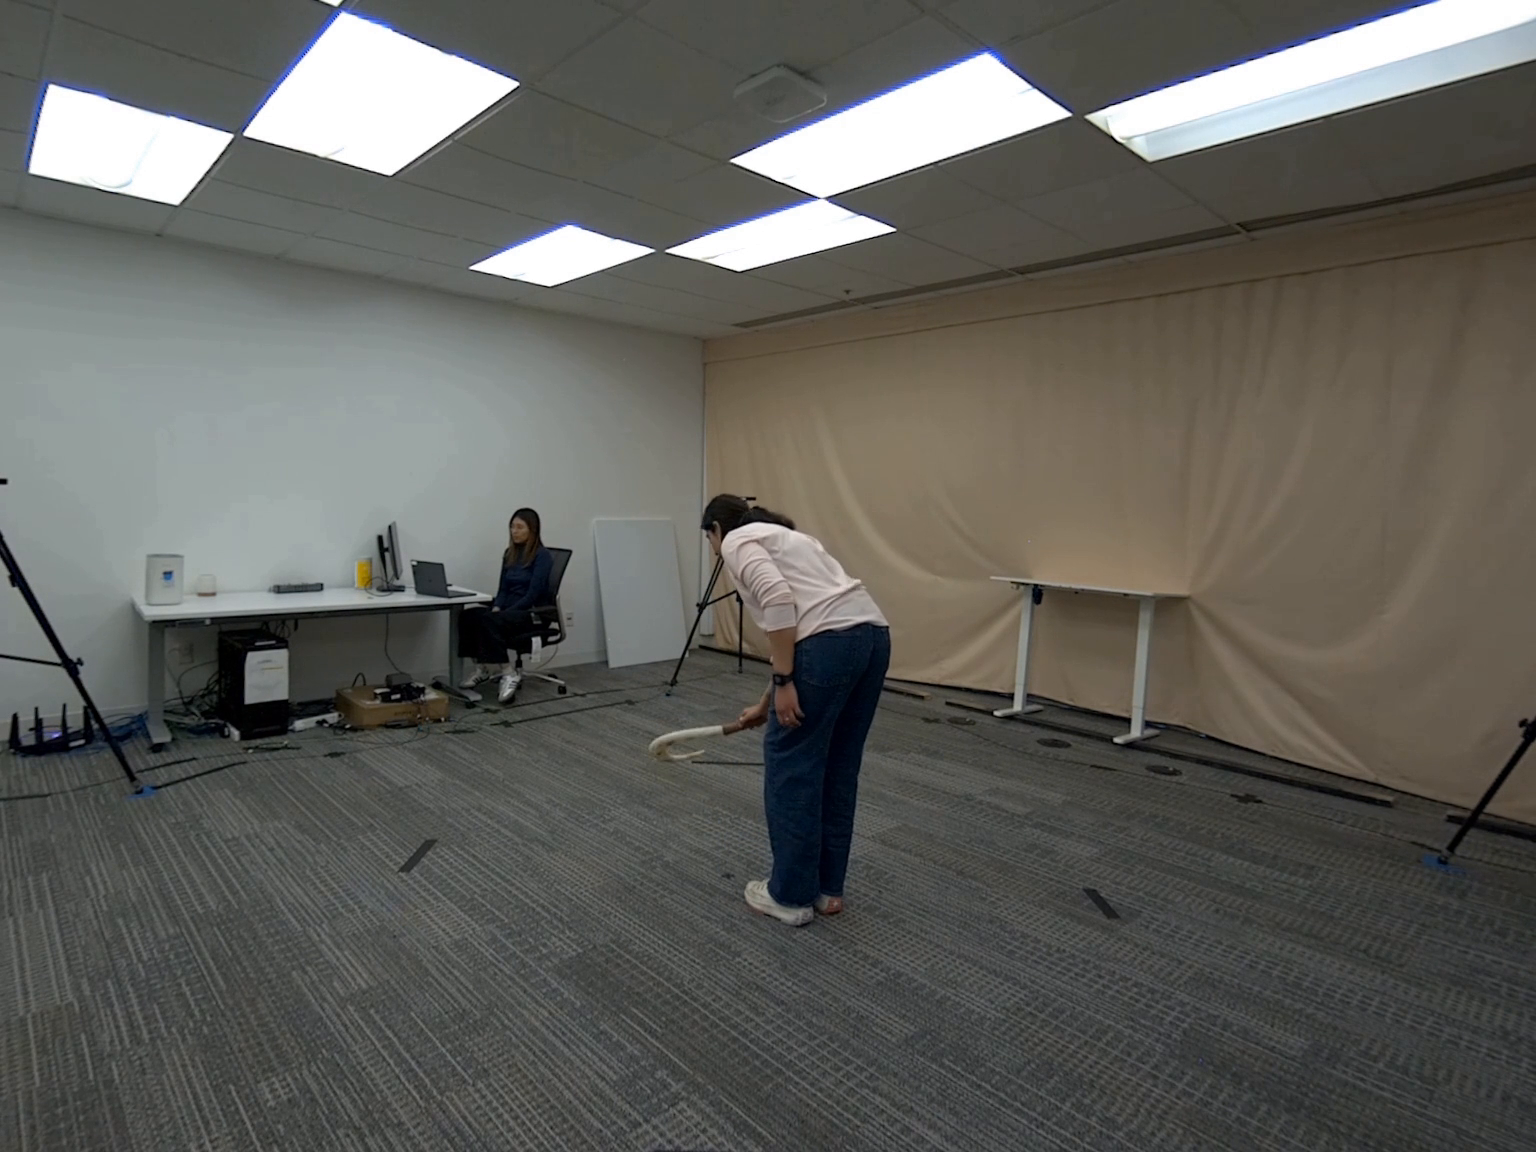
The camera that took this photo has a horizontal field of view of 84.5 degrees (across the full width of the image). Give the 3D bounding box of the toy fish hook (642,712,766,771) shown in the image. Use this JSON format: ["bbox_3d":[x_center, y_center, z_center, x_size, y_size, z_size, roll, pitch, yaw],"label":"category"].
[{"bbox_3d":[-0.213,0.633,3.286,0.508,0.049,0.218,-15,-36,5],"label":"toy fish hook"}]
